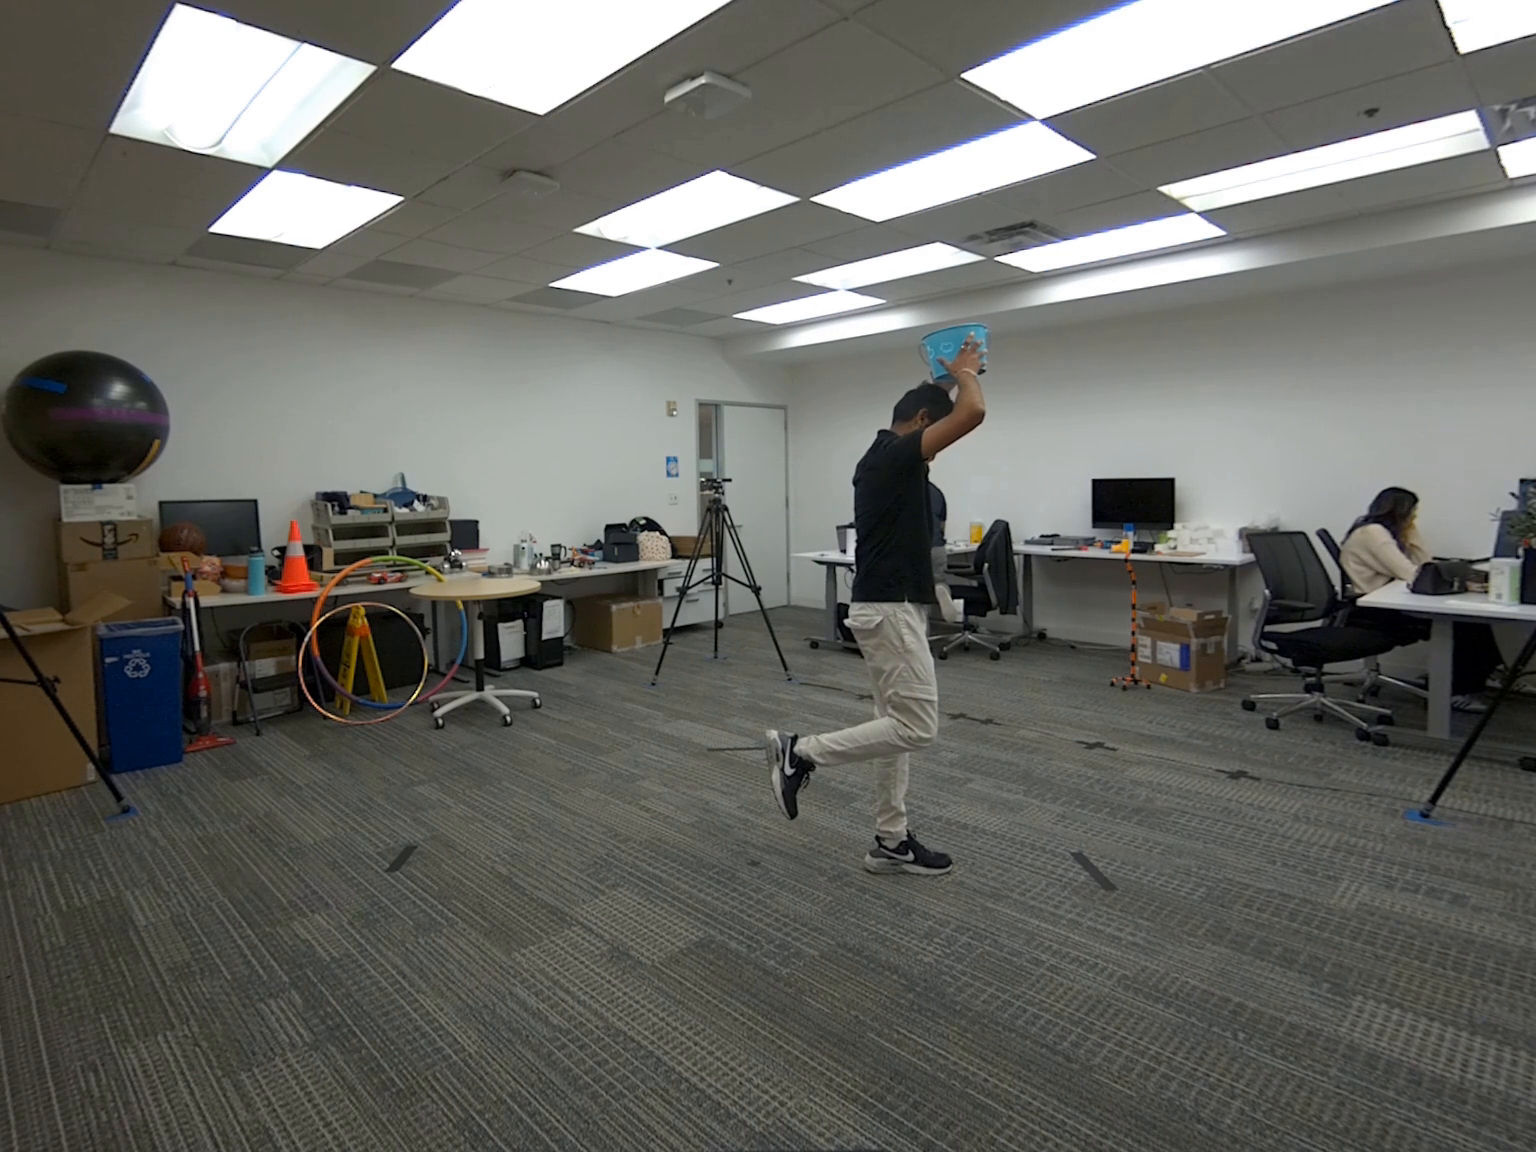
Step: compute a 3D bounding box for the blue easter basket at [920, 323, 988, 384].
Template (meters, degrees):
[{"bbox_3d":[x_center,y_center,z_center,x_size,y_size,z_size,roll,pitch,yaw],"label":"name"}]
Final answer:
[{"bbox_3d":[0.693,-0.792,3.049,0.243,0.156,0.243,-4,-1,-2],"label":"blue easter basket"}]
